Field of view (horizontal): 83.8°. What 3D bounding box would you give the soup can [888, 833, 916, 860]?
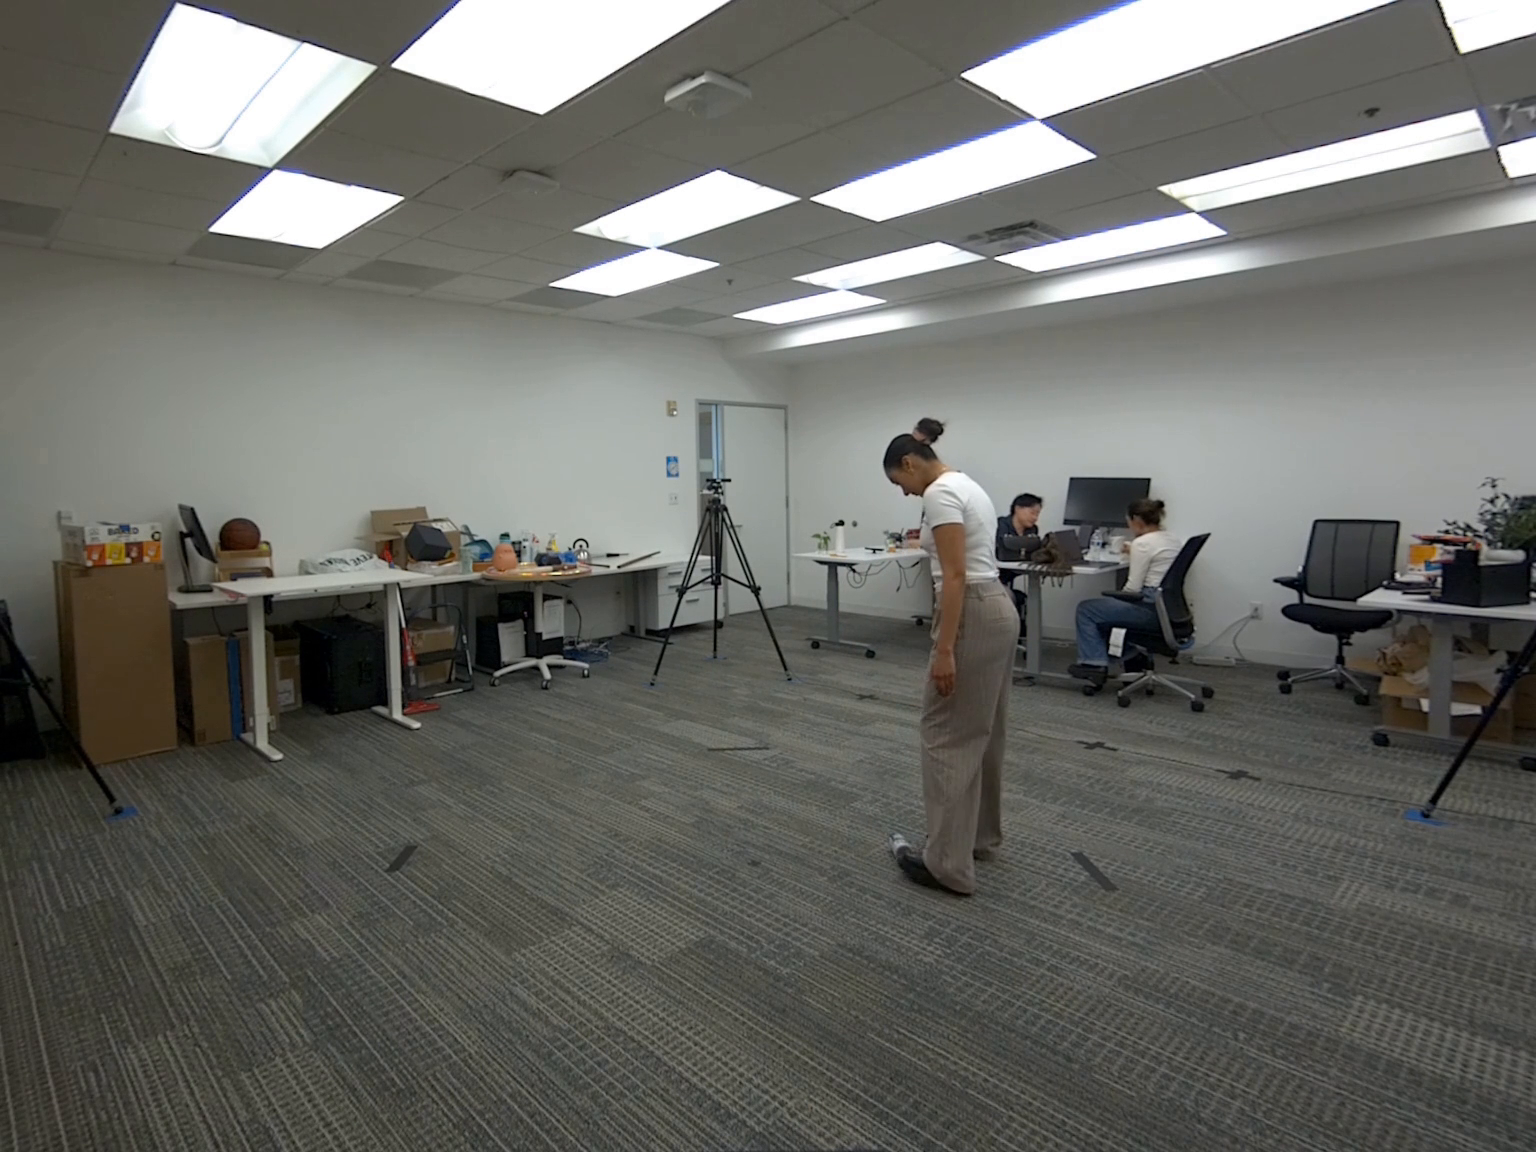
[{"bbox_3d":[0.490,0.994,3.148,0.067,0.067,0.122,-1,4,-5],"label":"soup can"}]
